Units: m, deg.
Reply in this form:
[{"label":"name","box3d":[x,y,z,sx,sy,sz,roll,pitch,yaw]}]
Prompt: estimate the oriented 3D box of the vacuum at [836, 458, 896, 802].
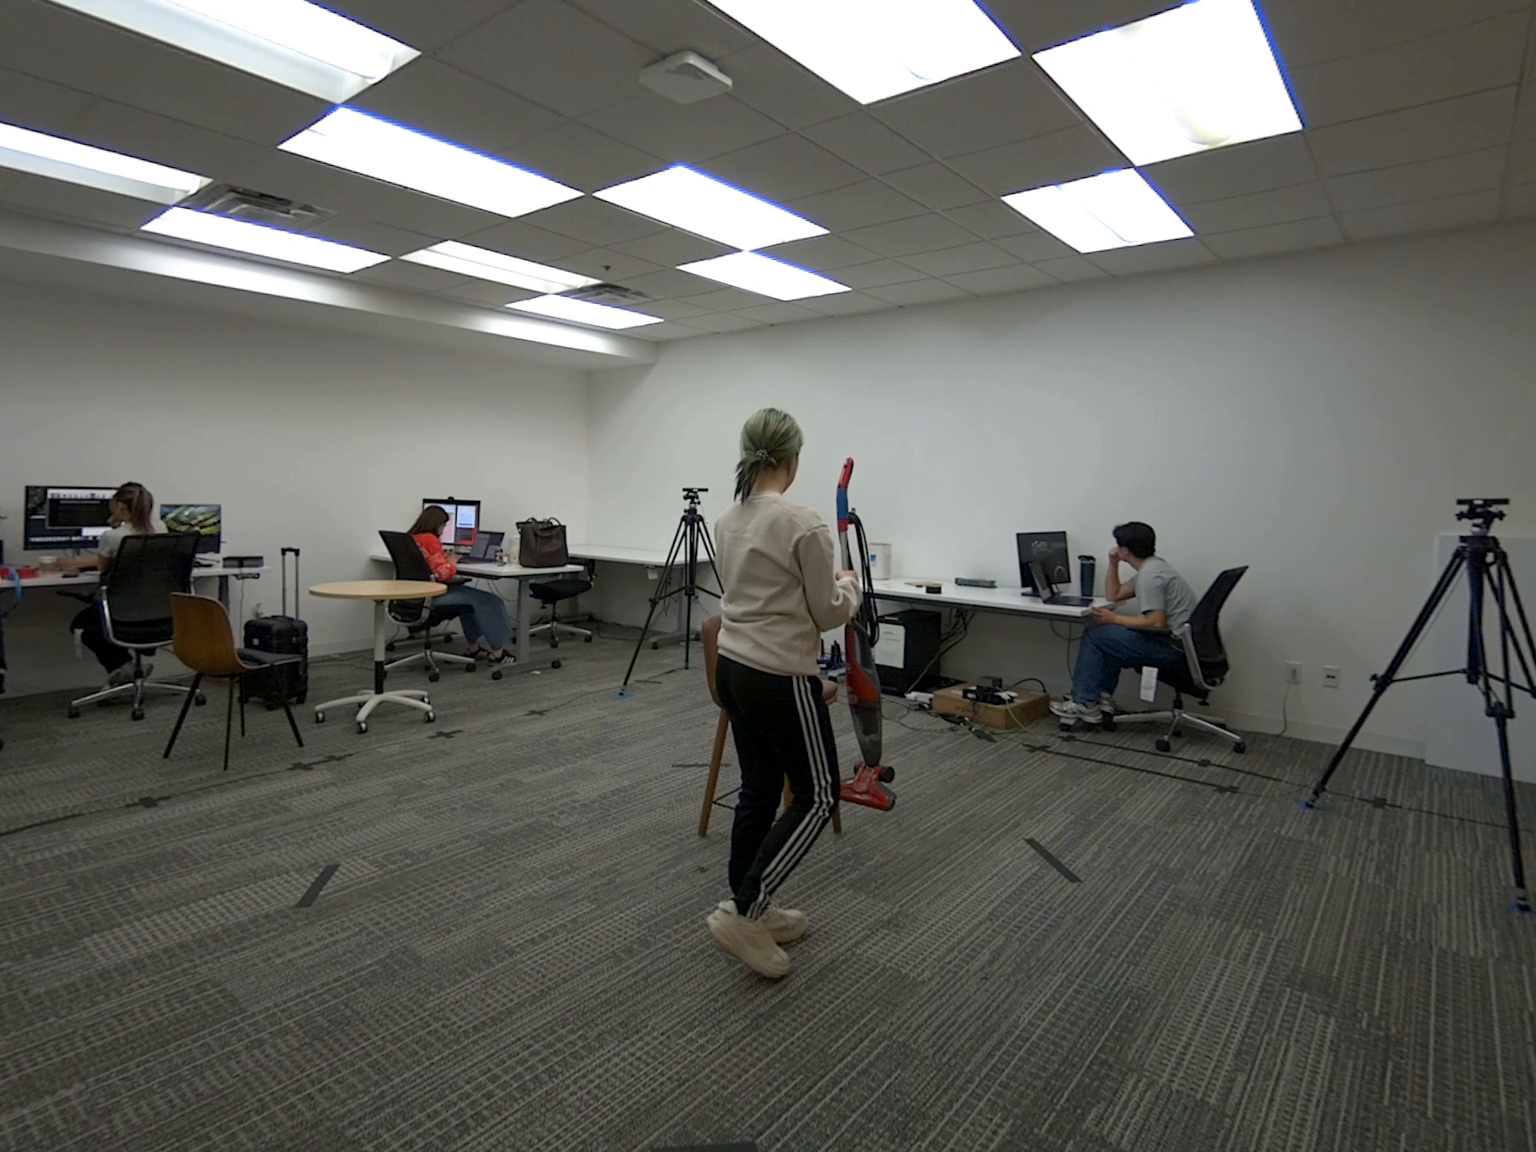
[{"label":"vacuum","box3d":[0.293,0.143,2.759,0.139,1.052,0.260,1,-4,-42]}]
